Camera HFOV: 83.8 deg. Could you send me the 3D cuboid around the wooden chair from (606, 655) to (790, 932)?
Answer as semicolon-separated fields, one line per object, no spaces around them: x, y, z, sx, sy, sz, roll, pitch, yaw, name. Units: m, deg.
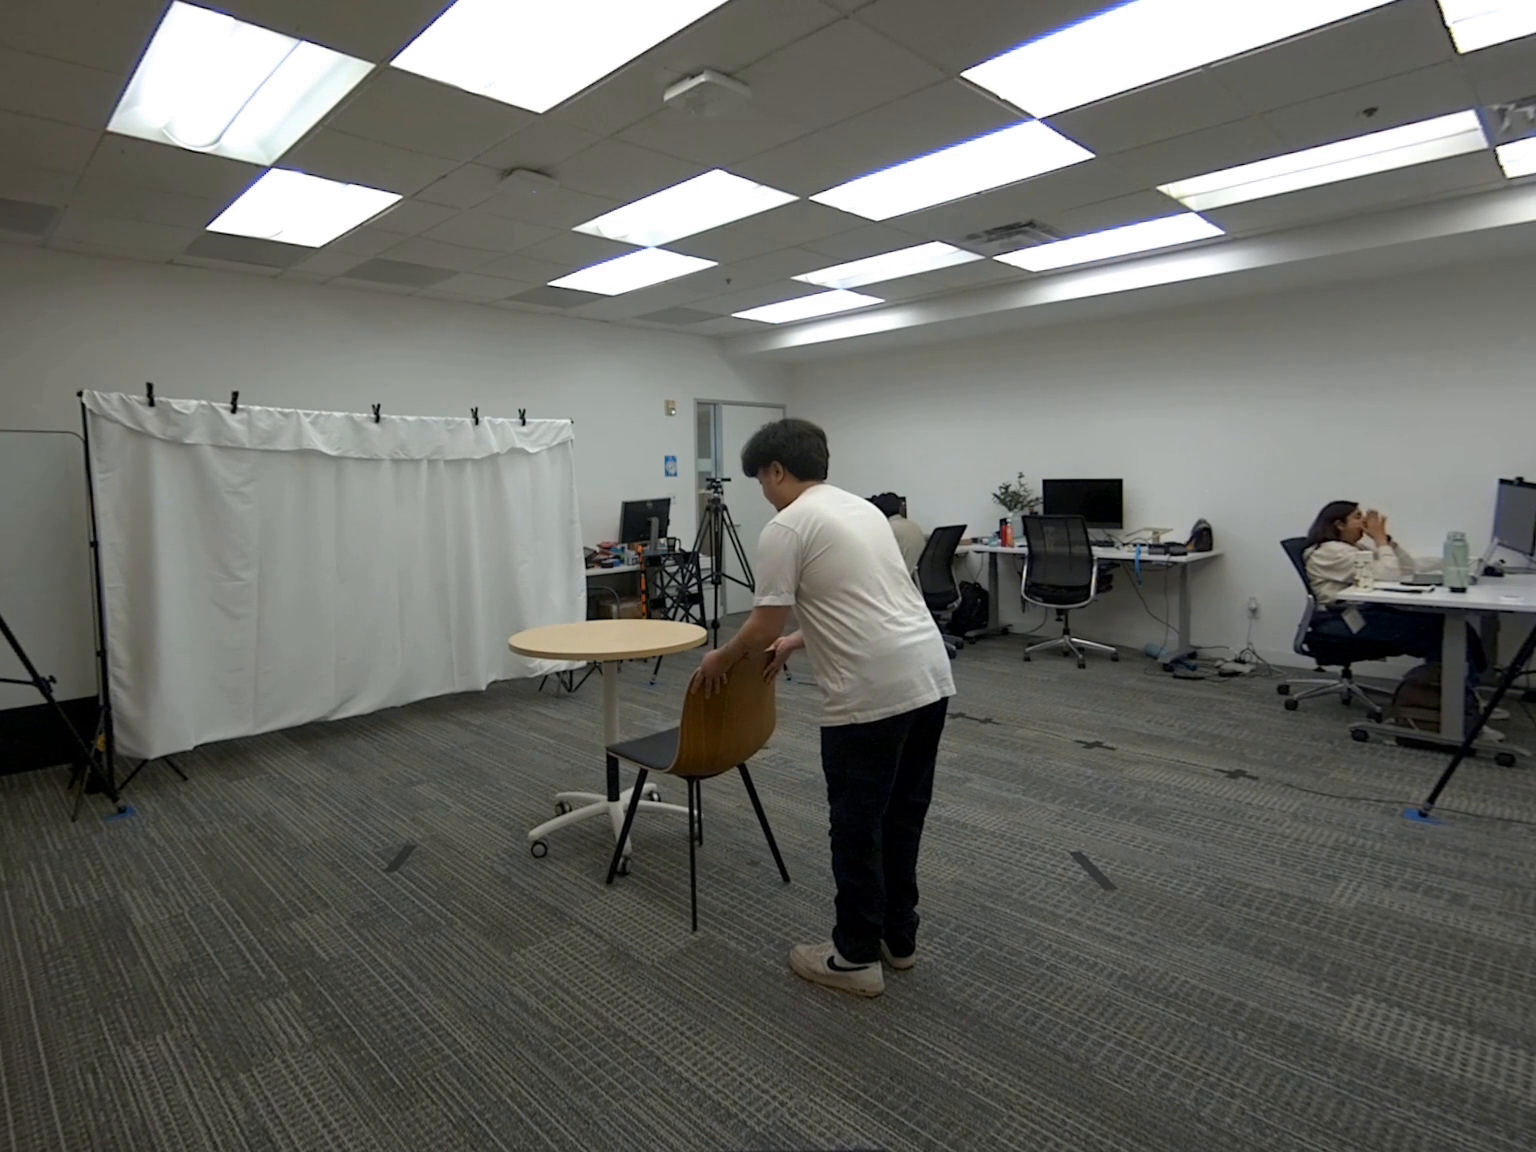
-0.250;0.636;2.927;0.540;0.872;0.465;9;10;44;wooden chair
